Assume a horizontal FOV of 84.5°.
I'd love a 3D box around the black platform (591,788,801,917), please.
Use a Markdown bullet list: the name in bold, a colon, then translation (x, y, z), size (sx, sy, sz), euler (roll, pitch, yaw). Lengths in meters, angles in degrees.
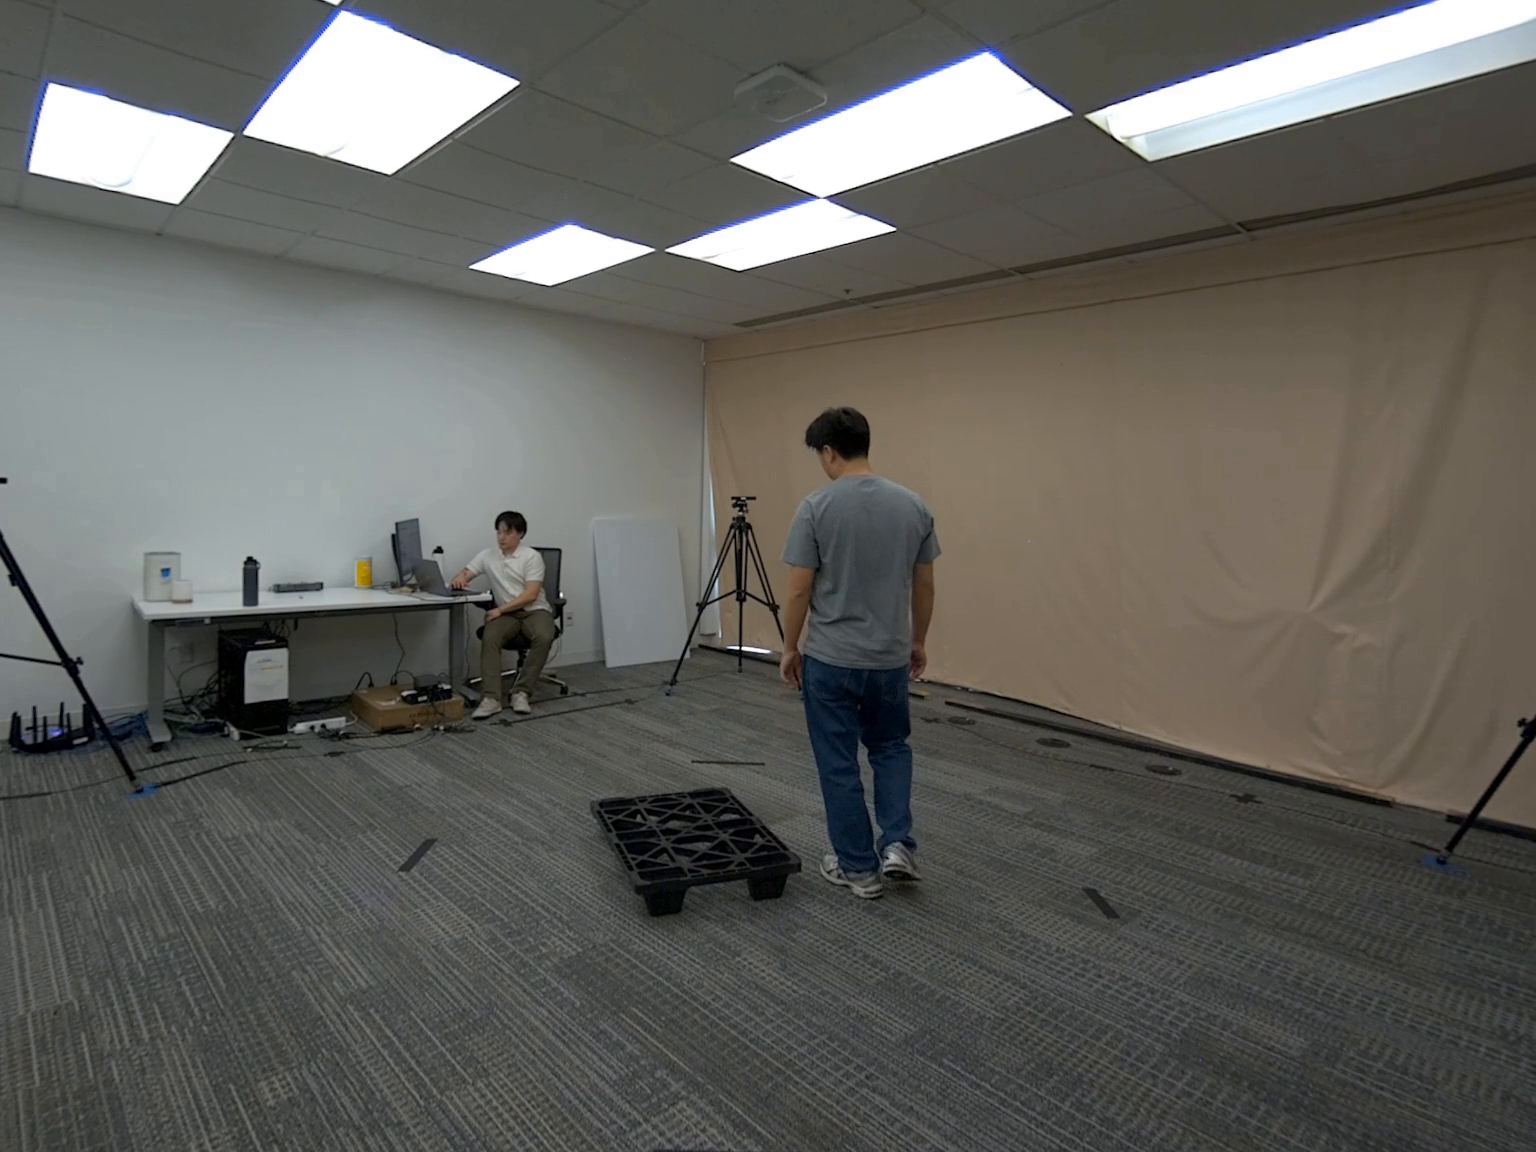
- **black platform**: translation (-0.311, 1.024, 3.203), size (0.595, 0.143, 0.821), euler (0, 6, -22)
